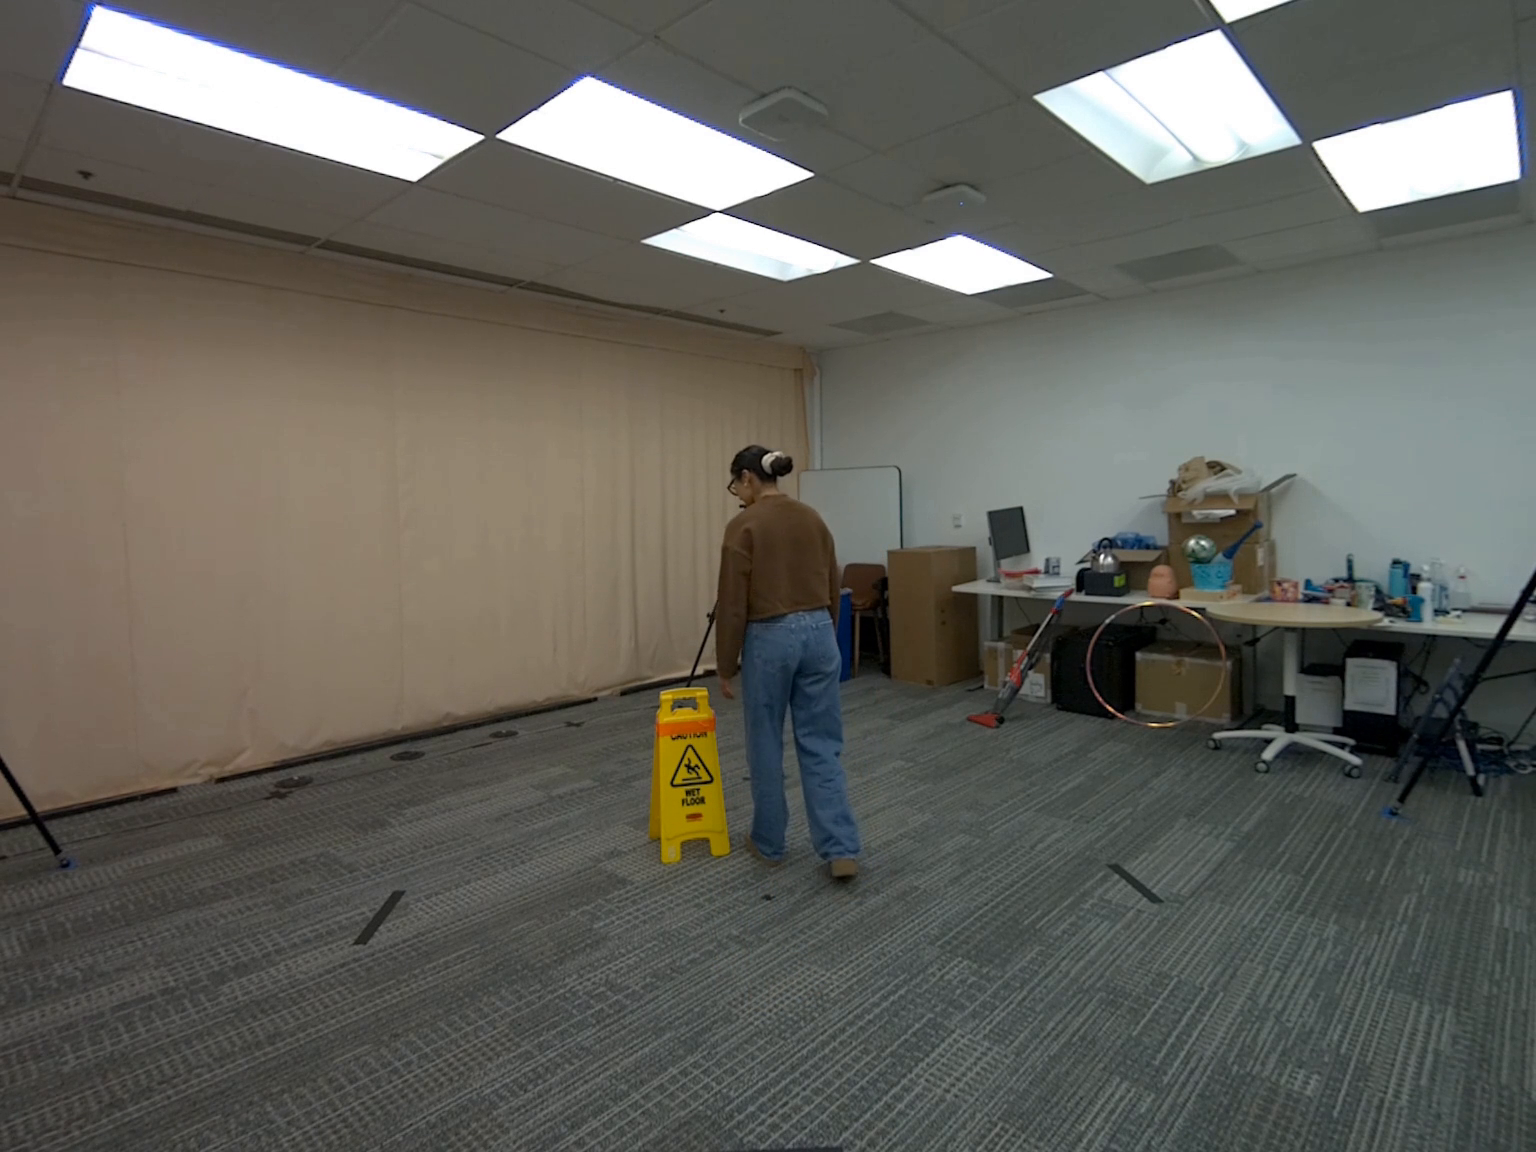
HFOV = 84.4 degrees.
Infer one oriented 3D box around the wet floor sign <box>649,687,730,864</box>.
[{"bbox_3d":[-0.337,0.784,3.436,0.278,0.645,0.295,-2,3,-17],"label":"wet floor sign"}]
